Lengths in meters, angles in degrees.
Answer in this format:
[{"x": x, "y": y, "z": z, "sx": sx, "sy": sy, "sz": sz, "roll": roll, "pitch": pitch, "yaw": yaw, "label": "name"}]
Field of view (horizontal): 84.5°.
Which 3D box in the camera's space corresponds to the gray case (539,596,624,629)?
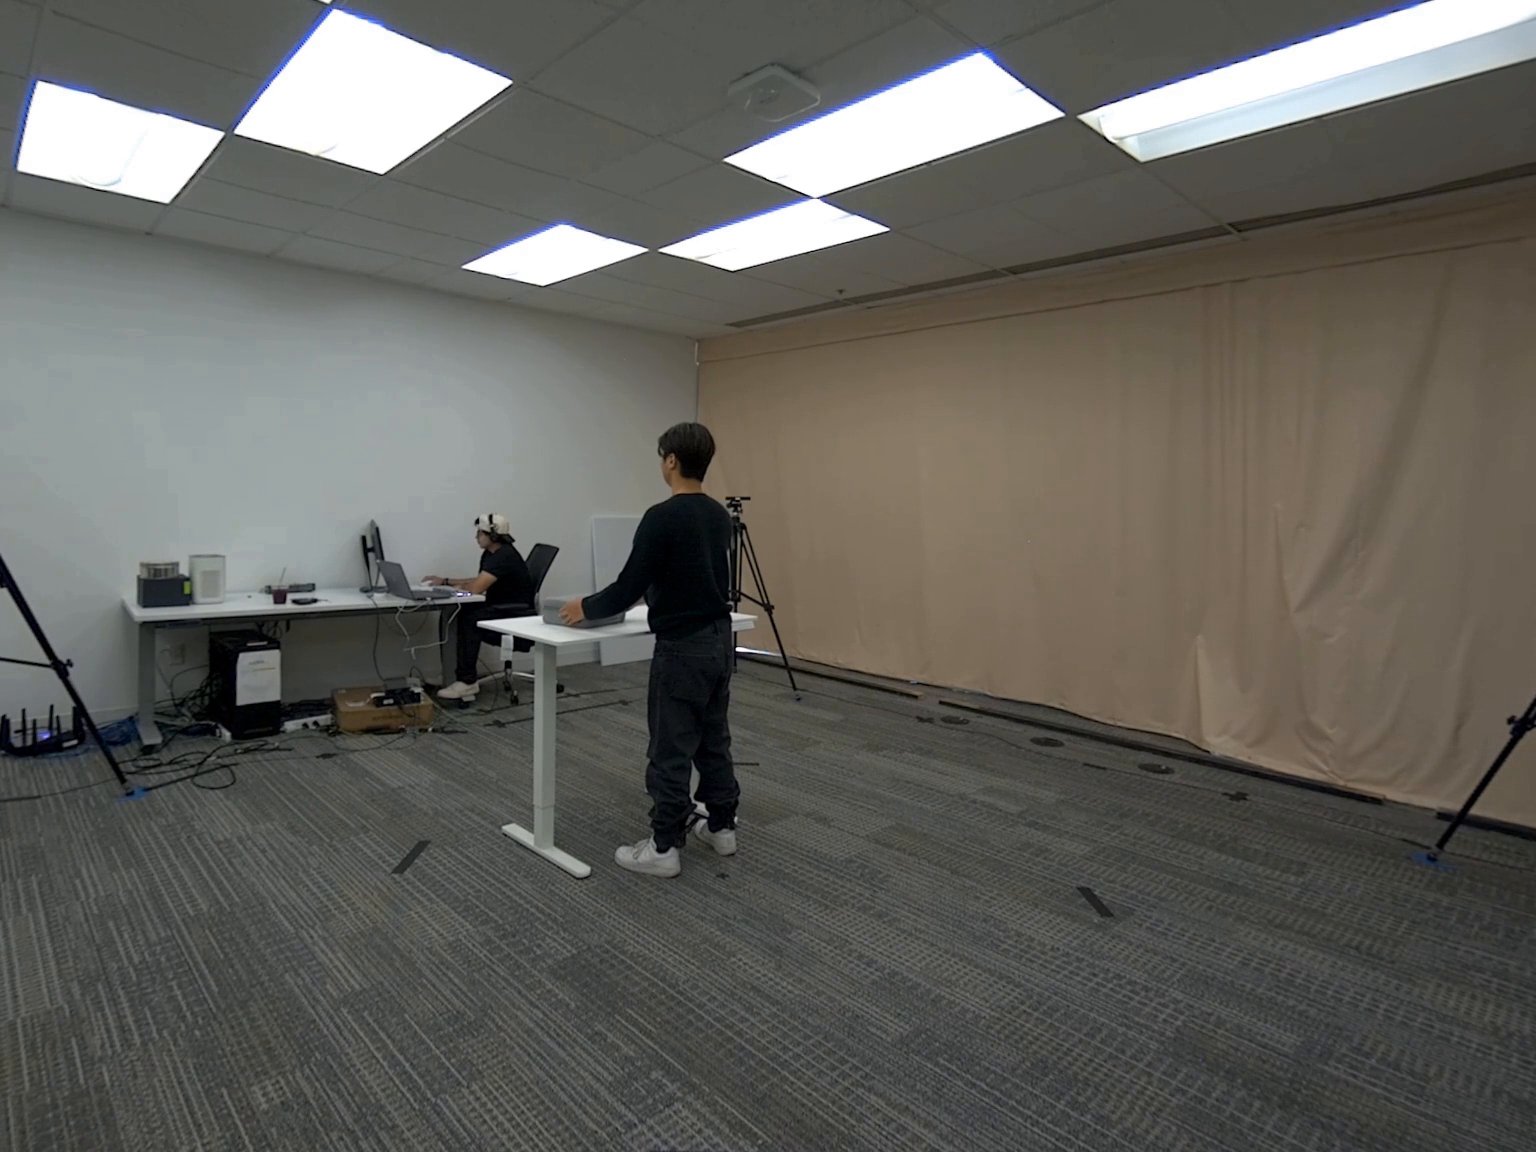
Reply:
[{"x": -0.737, "y": 0.135, "z": 3.381, "sx": 0.267, "sy": 0.104, "sz": 0.252, "roll": 5, "pitch": 6, "yaw": 34, "label": "gray case"}]
